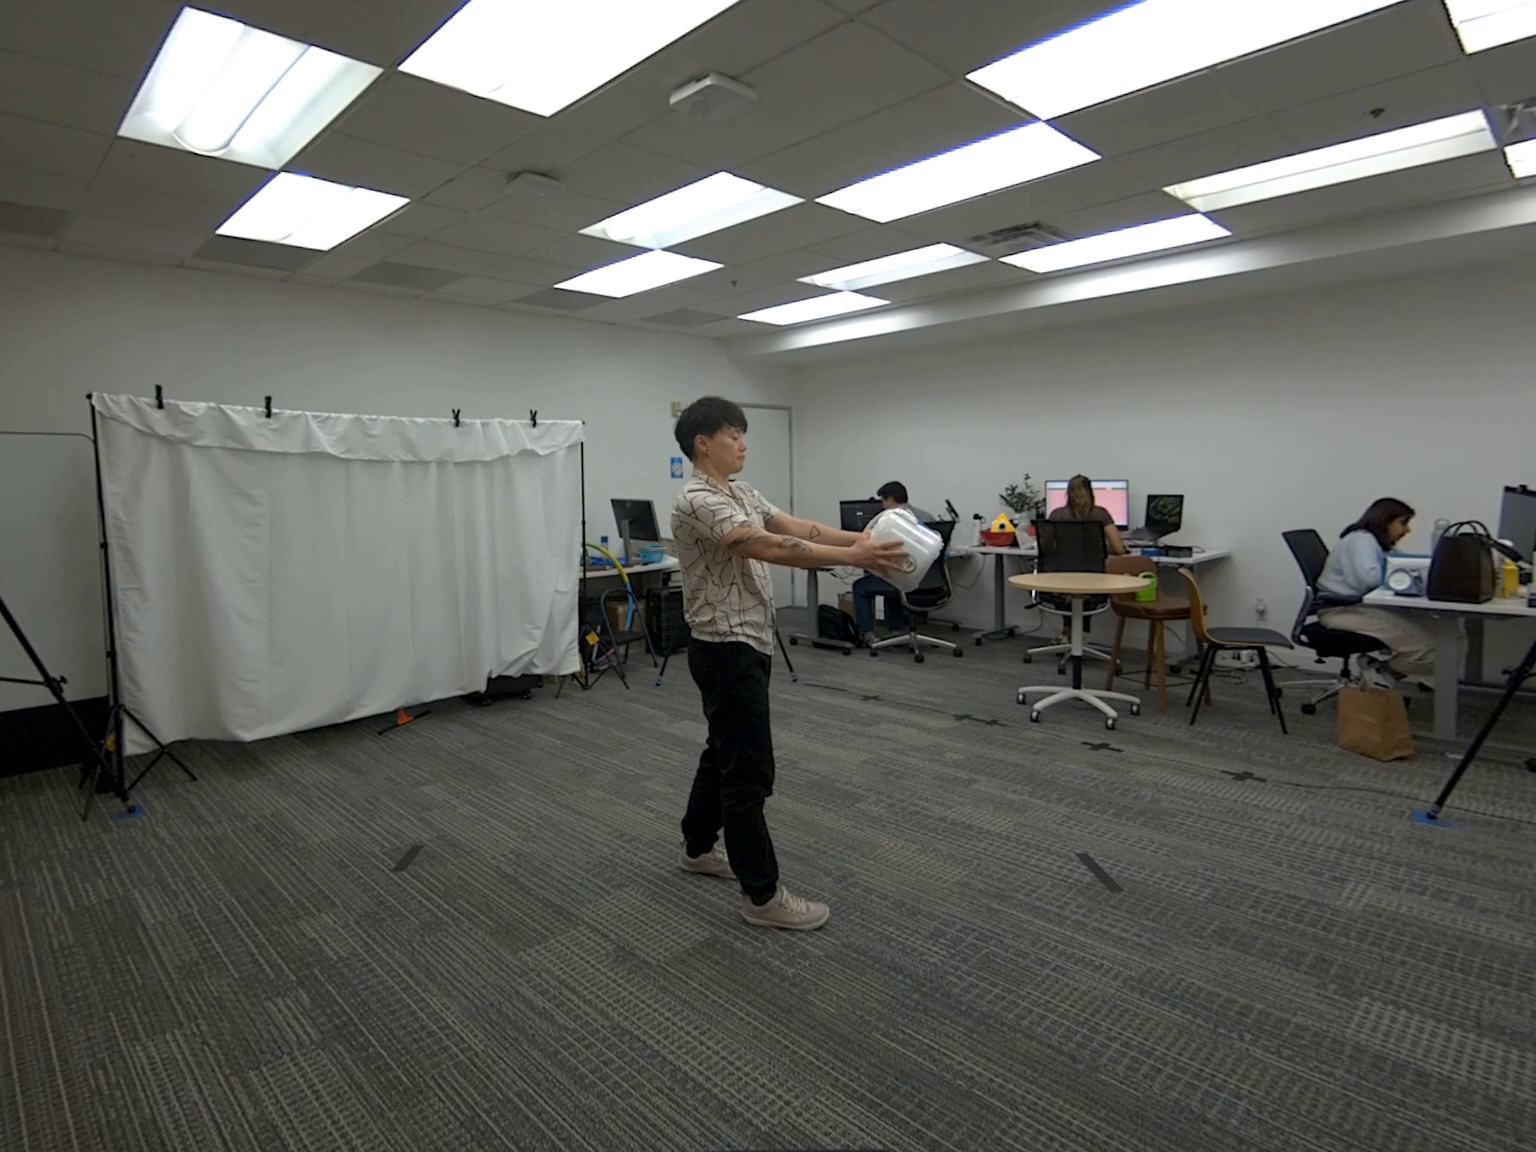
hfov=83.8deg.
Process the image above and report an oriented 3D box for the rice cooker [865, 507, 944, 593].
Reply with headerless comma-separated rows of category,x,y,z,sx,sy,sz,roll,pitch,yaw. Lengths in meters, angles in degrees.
rice cooker,0.400,-0.087,2.670,0.236,0.219,0.216,32,19,9
